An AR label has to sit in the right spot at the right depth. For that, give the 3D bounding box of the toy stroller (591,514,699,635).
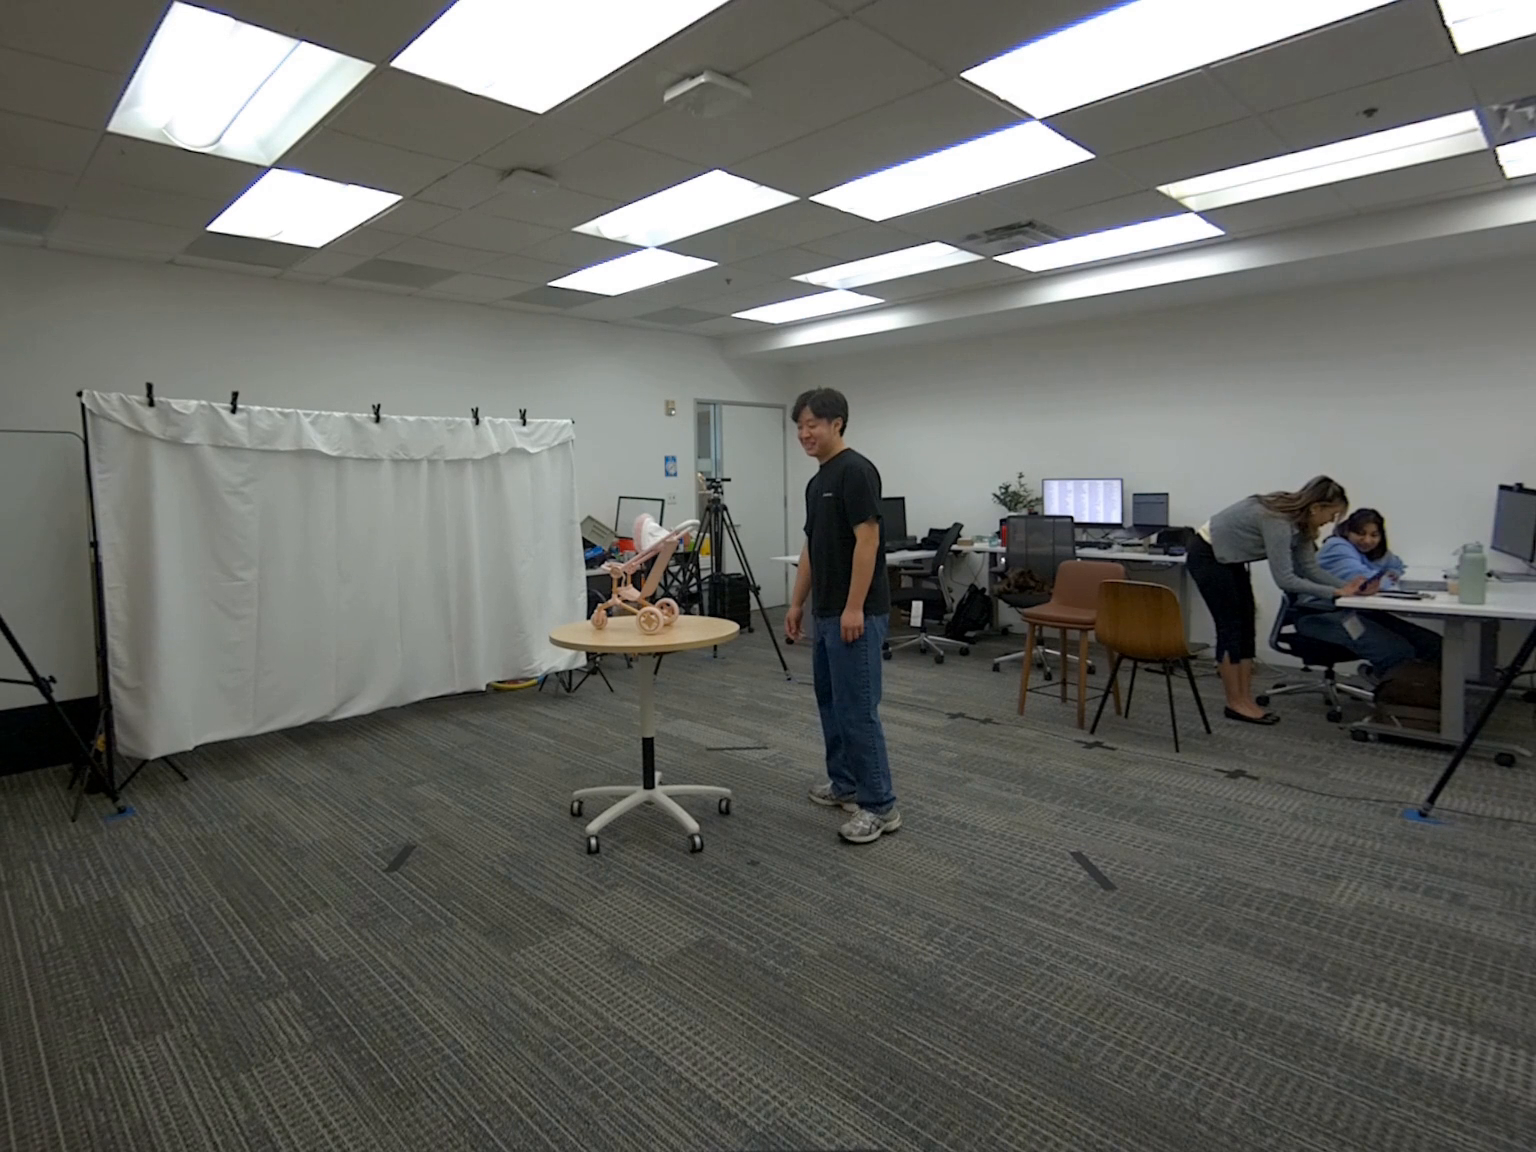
[{"bbox_3d":[-0.509,-0.007,3.437,0.347,0.532,0.278,15,7,12],"label":"toy stroller"}]
